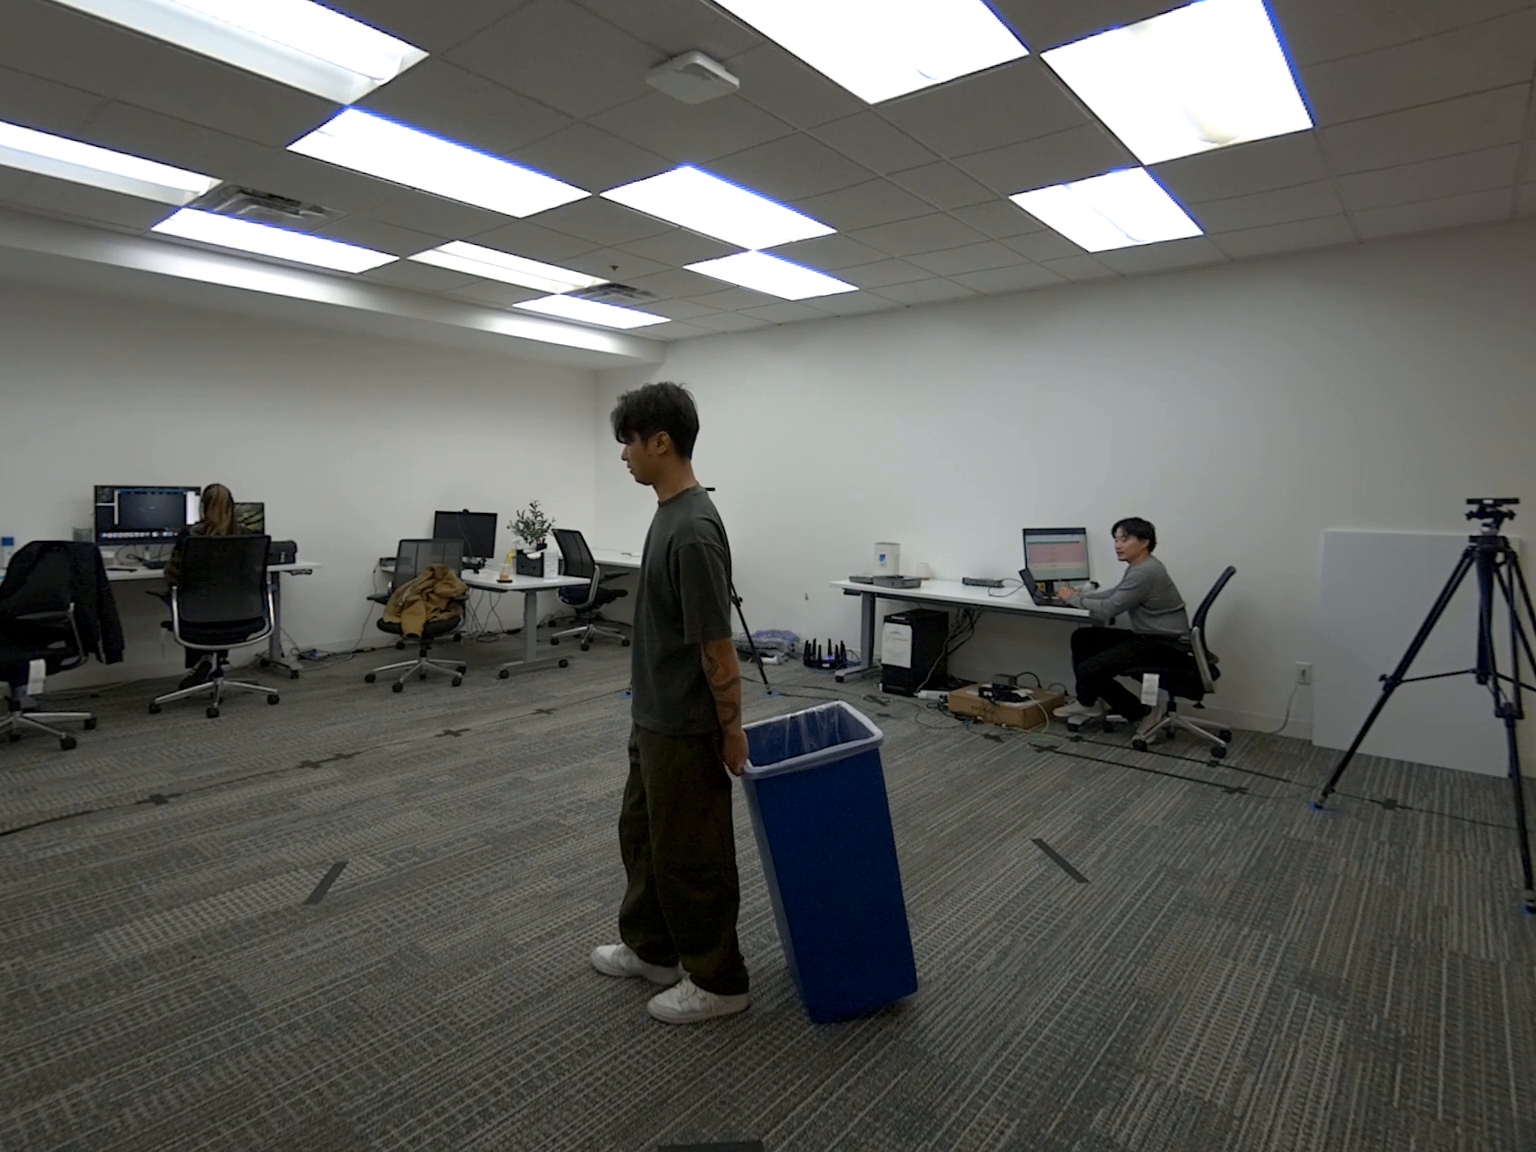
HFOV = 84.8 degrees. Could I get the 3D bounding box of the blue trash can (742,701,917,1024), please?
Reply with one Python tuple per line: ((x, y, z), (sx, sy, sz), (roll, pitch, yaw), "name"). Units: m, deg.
((0.152, 0.777, 2.328), (0.376, 0.709, 0.379), (-14, 6, -8), "blue trash can")
